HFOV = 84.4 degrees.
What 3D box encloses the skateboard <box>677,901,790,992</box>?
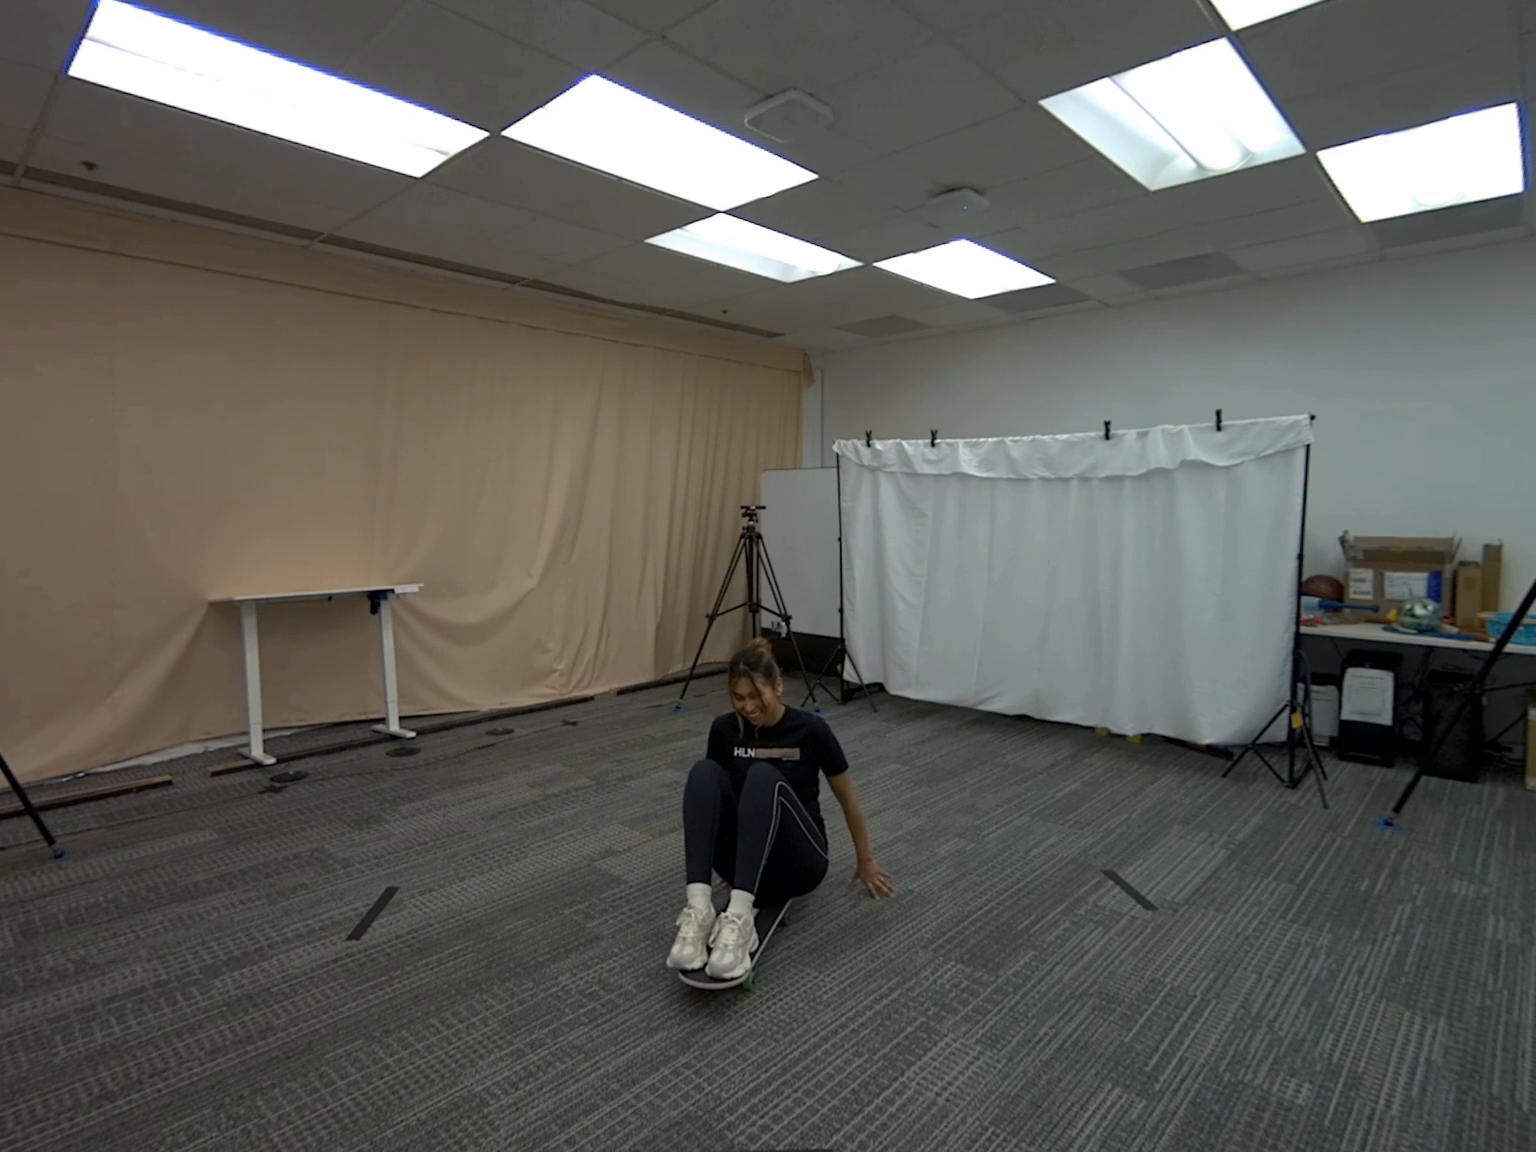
[{"bbox_3d":[-0.075,1.123,2.648,0.197,0.110,0.772,-2,3,17],"label":"skateboard"}]
